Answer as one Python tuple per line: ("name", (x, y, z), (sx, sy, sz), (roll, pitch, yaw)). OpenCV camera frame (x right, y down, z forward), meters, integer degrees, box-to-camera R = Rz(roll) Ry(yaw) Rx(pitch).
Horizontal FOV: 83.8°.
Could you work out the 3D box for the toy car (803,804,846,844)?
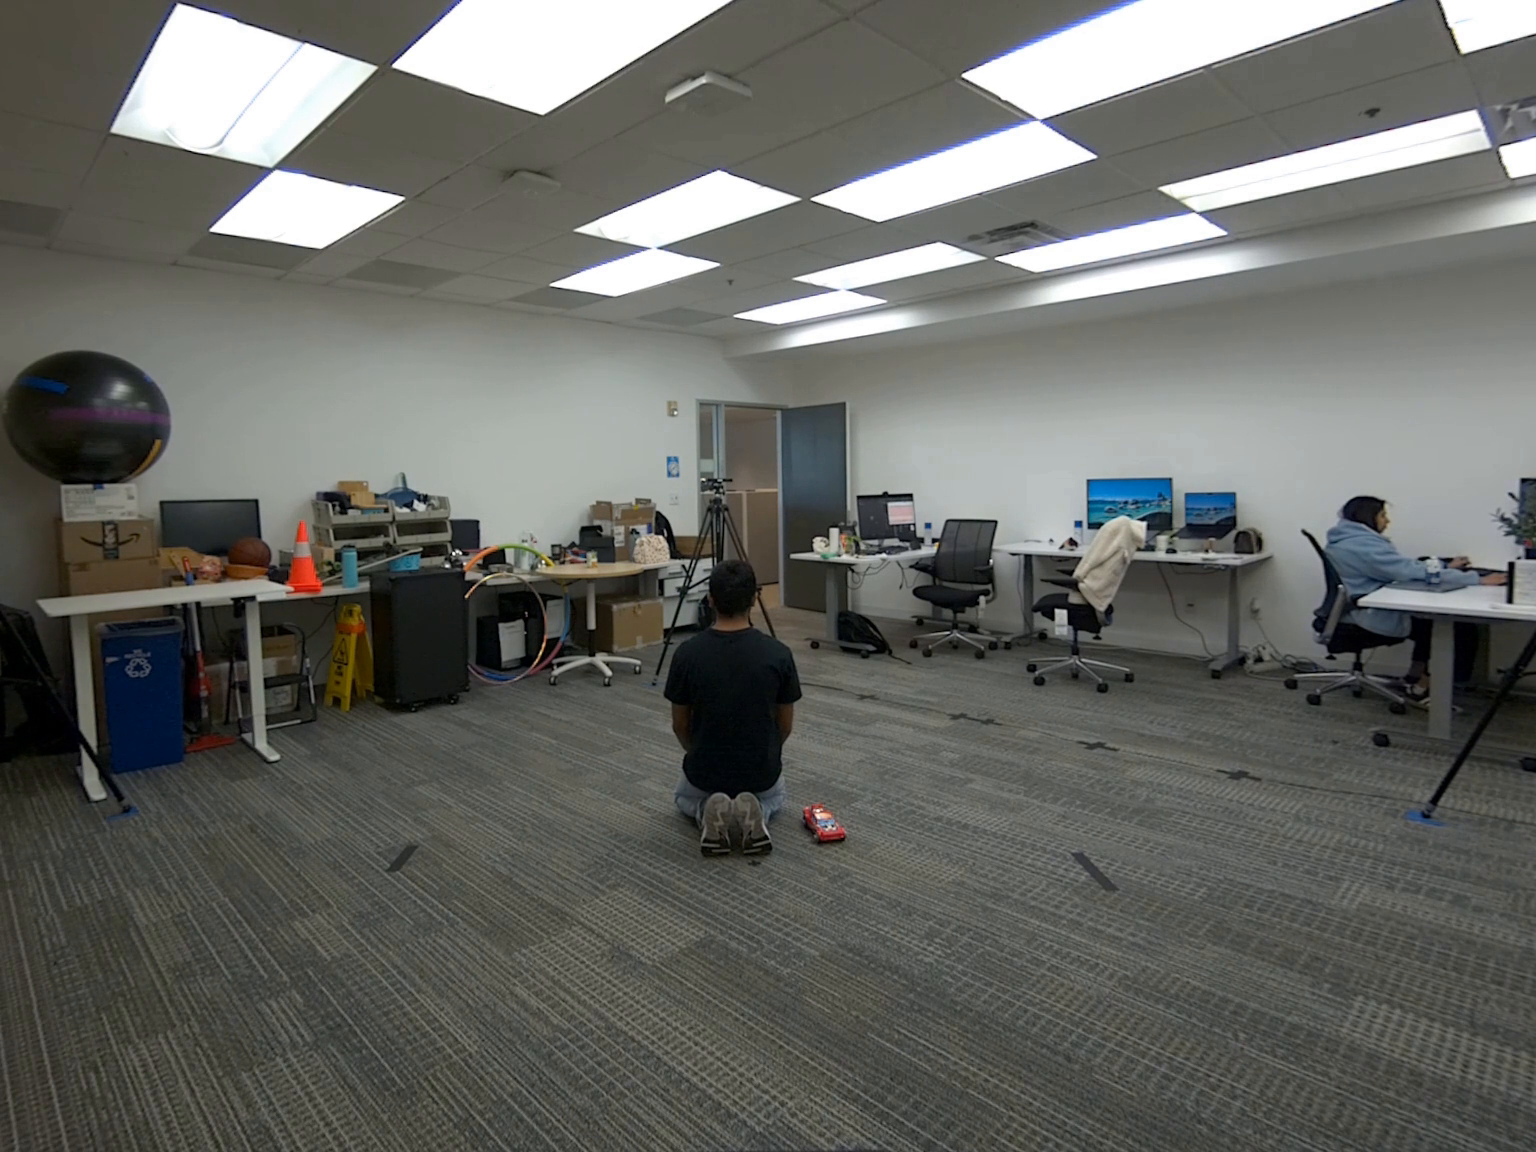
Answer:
("toy car", (0.212, 0.971, 3.370), (0.129, 0.082, 0.261), (-2, 16, -14))
